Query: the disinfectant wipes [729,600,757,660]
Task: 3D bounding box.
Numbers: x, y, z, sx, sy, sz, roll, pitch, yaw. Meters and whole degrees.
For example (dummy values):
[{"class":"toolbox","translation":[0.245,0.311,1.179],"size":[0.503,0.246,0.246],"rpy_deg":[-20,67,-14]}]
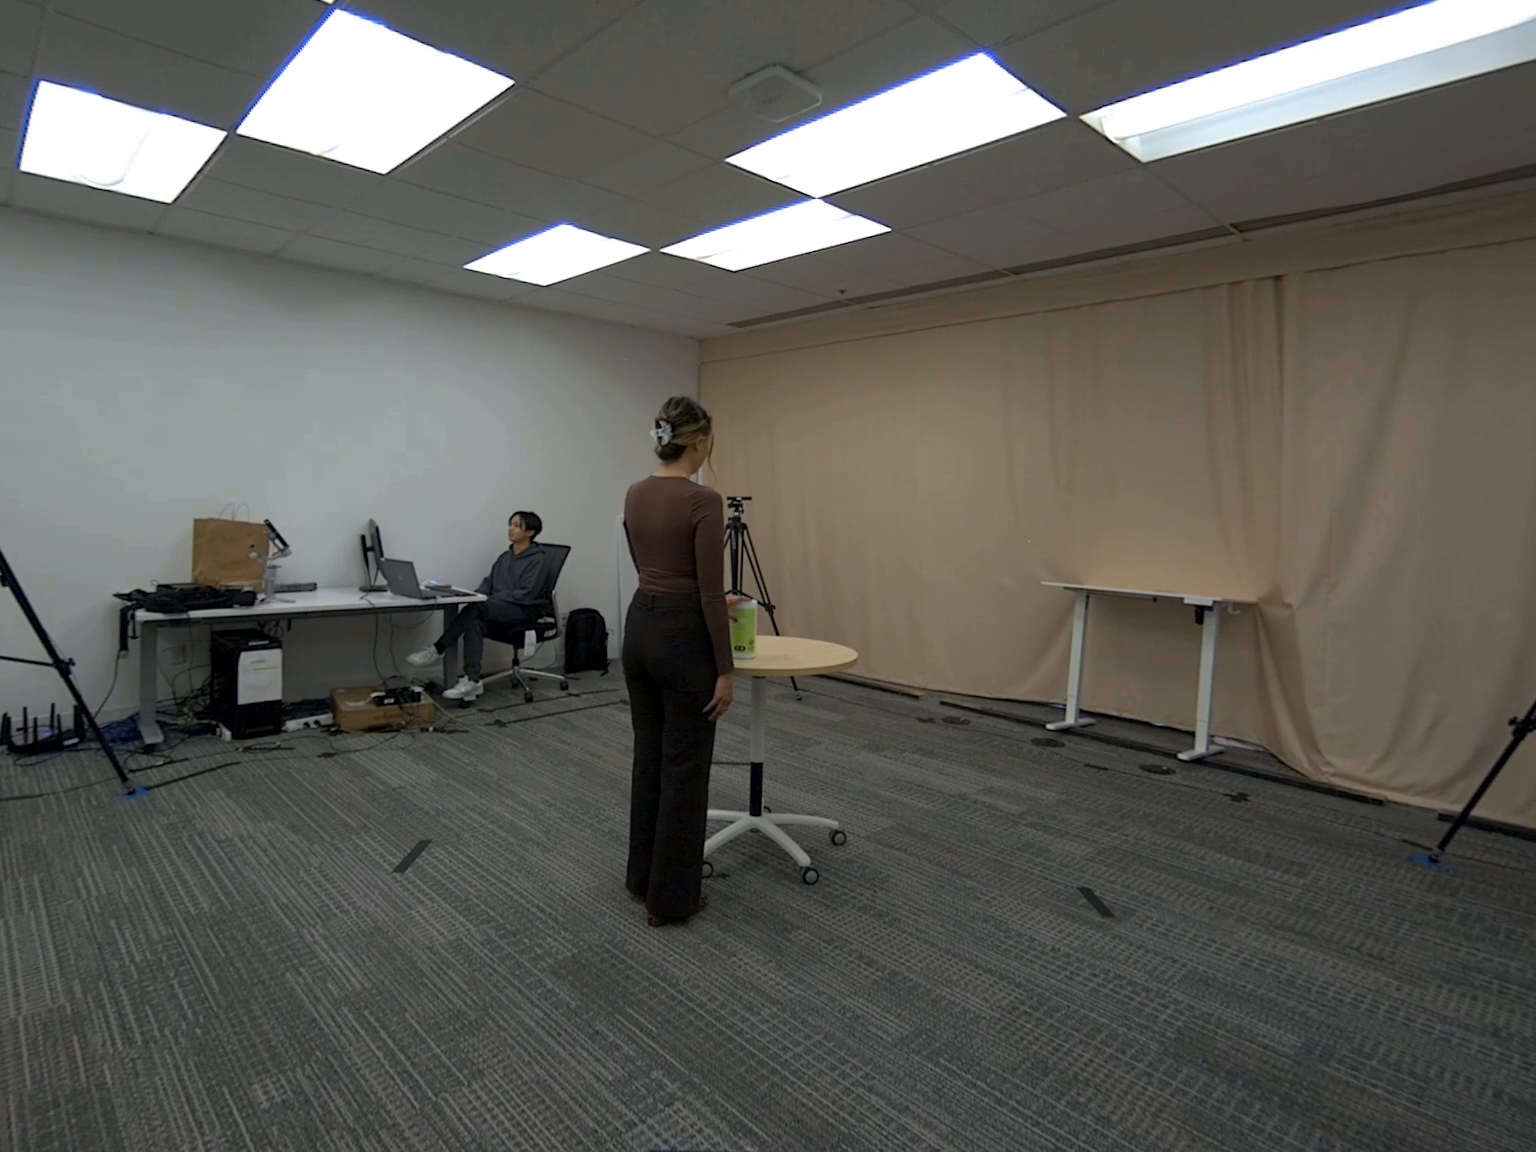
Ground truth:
[{"class":"disinfectant wipes","translation":[-0.104,0.199,3.150],"size":[0.118,0.217,0.118],"rpy_deg":[0,4,-1]}]
